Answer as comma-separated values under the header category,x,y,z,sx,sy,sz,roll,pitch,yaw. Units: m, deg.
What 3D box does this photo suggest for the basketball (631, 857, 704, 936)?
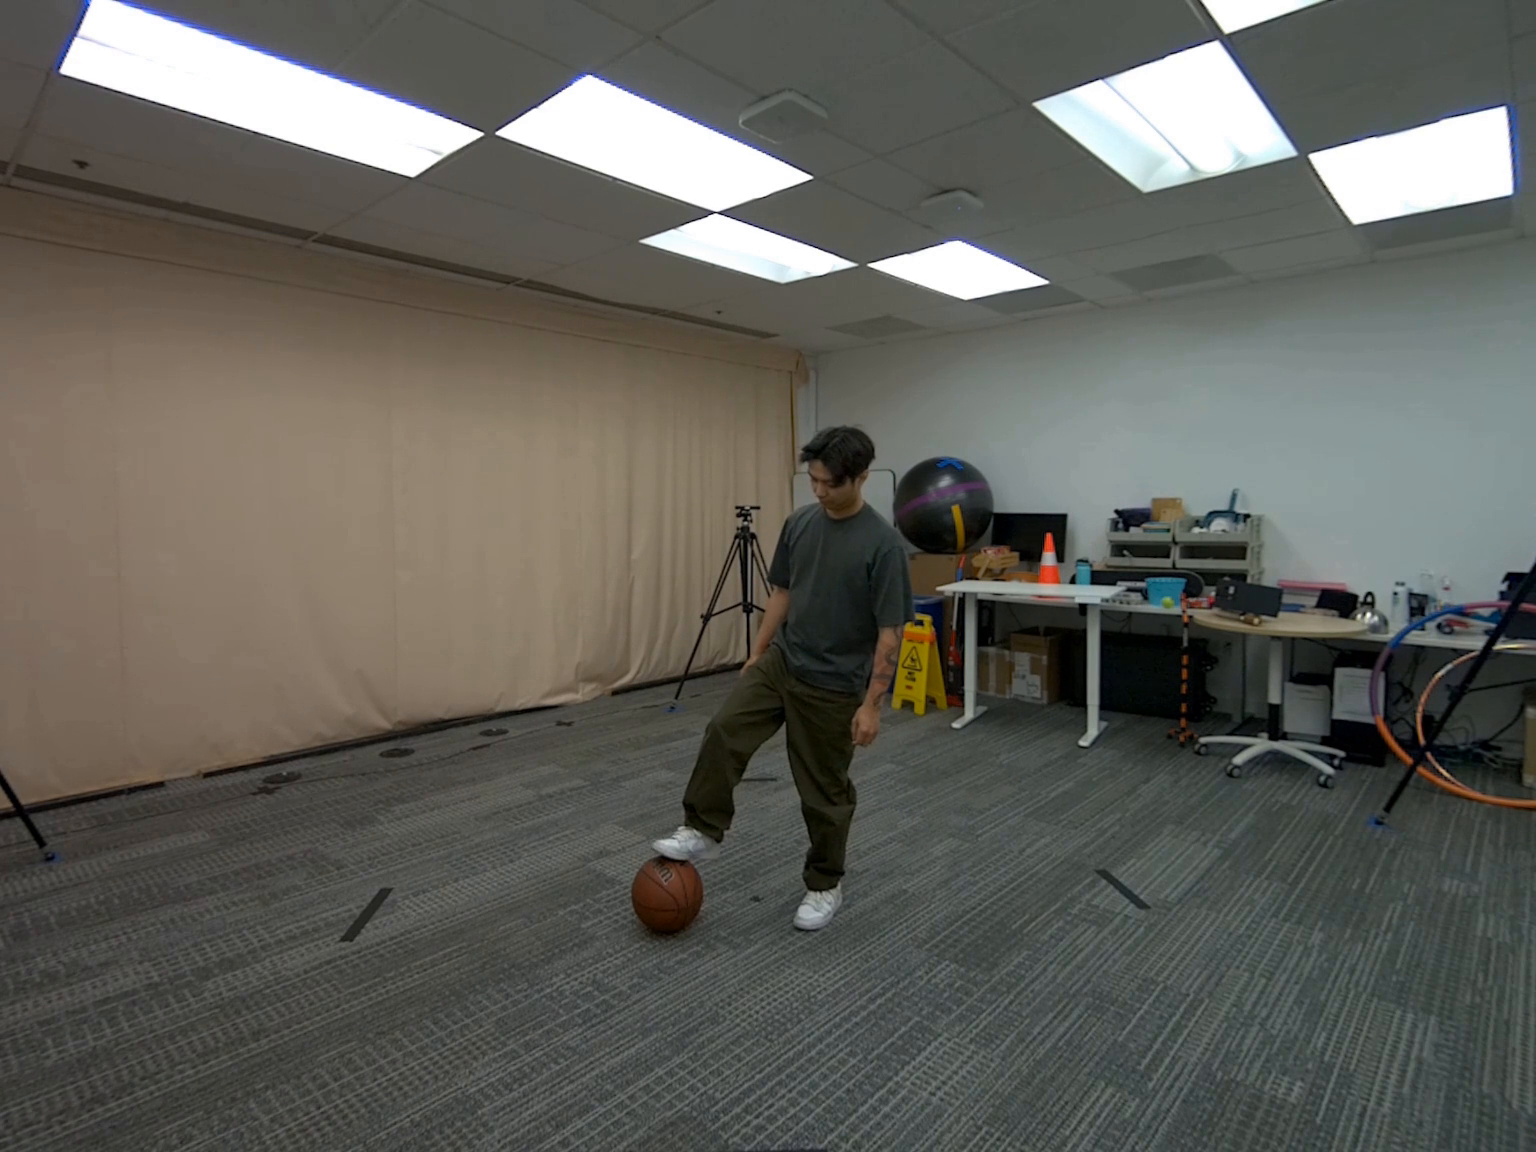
category,x,y,z,sx,sy,sz,roll,pitch,yaw
basketball,-0.330,1.047,2.775,0.236,0.235,0.237,0,4,-2
